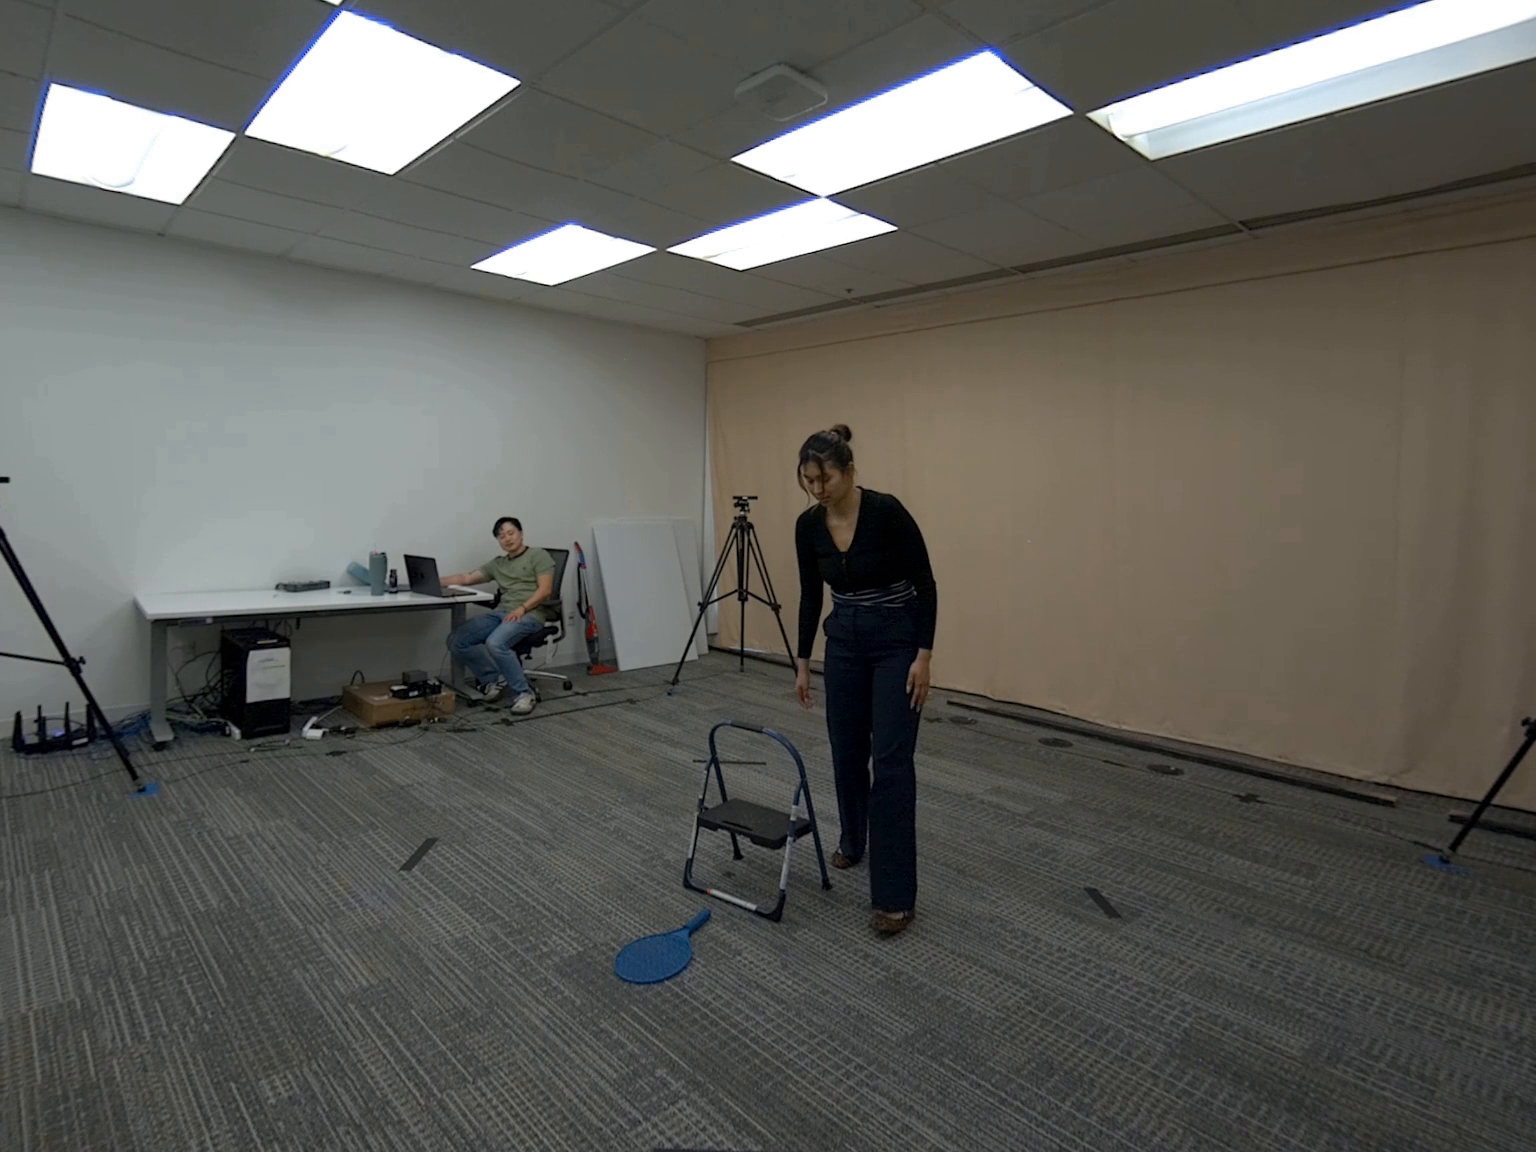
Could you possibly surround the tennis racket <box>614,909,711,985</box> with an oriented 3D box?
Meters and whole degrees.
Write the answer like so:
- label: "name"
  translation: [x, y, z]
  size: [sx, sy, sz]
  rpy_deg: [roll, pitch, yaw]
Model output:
- label: "tennis racket"
  translation: [-0.308, 1.136, 2.584]
  size: [0.218, 0.031, 0.425]
  rpy_deg: [4, 7, 28]
